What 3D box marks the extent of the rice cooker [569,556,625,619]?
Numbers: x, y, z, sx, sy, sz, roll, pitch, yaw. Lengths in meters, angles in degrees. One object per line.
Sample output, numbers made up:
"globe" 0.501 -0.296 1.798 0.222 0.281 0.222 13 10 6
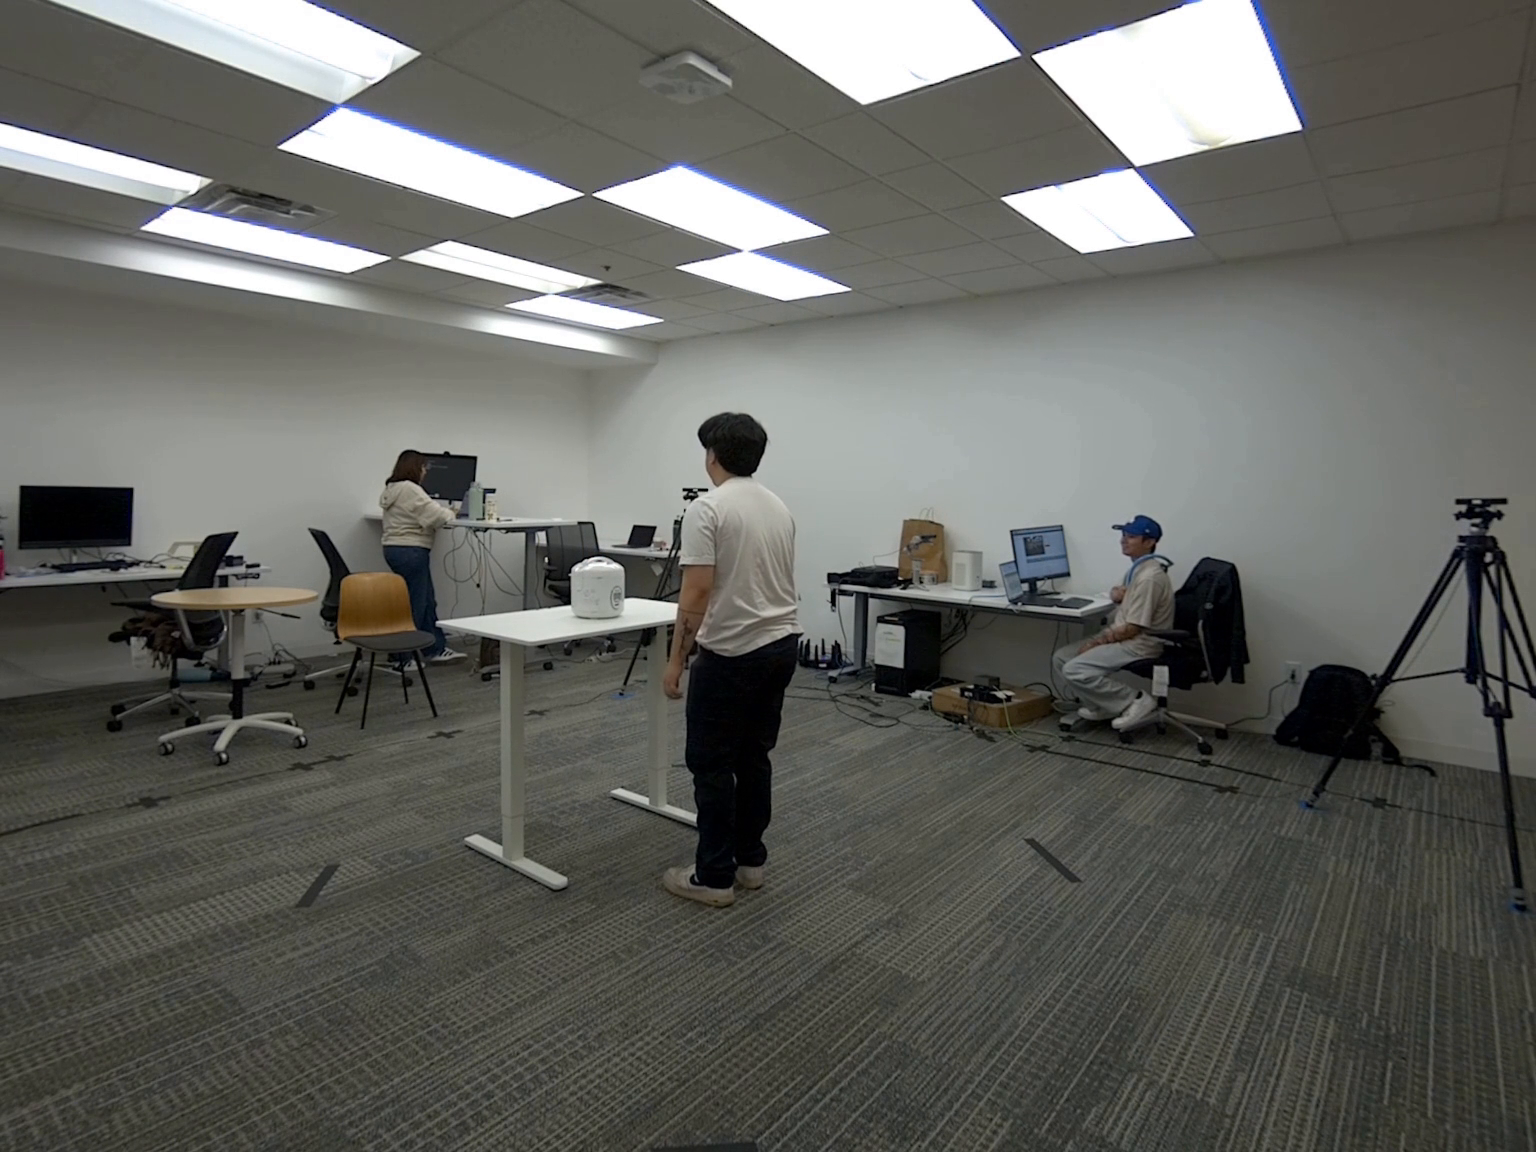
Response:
"rice cooker" -0.679 0.039 3.350 0.224 0.232 0.214 3 5 38
